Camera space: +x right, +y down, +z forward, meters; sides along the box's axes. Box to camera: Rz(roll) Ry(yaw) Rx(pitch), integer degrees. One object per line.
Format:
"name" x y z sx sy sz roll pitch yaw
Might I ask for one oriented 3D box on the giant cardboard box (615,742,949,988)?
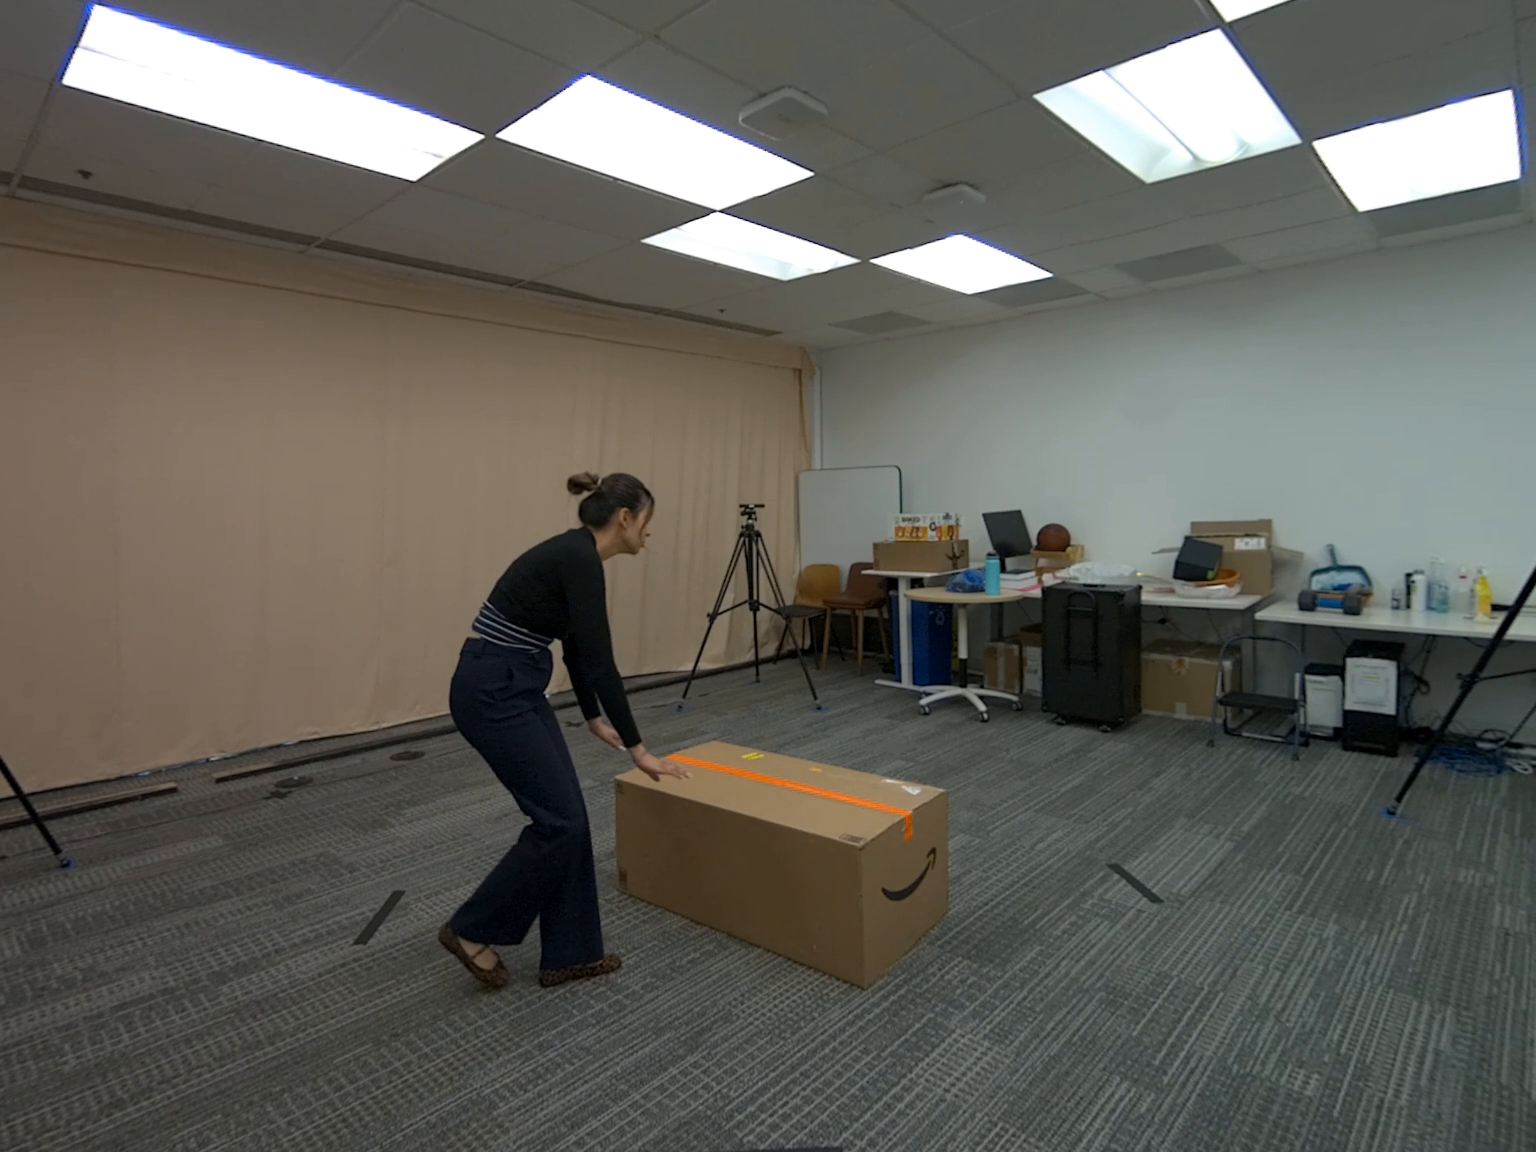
"giant cardboard box" 0.031 0.927 2.938 1.059 0.425 0.561 3 6 38
